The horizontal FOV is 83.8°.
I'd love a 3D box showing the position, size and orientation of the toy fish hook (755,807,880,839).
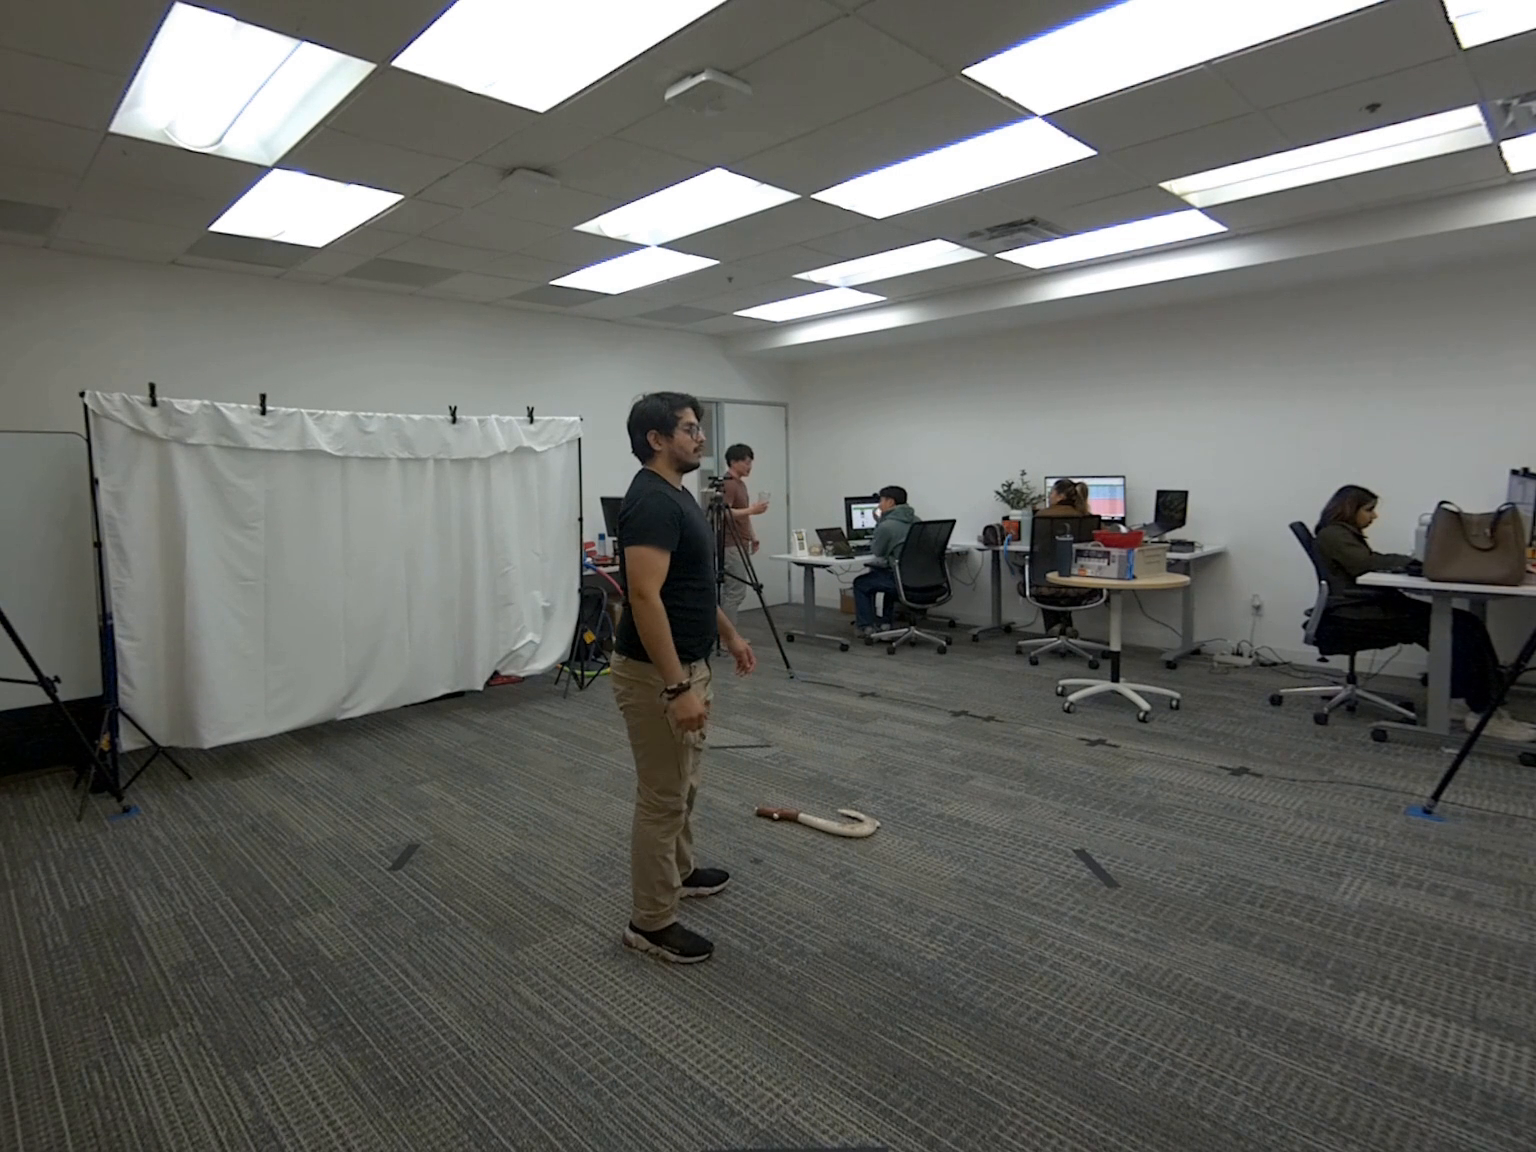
[{"bbox_3d":[0.197,0.974,3.455,0.520,0.048,0.219,4,1,28],"label":"toy fish hook"}]
